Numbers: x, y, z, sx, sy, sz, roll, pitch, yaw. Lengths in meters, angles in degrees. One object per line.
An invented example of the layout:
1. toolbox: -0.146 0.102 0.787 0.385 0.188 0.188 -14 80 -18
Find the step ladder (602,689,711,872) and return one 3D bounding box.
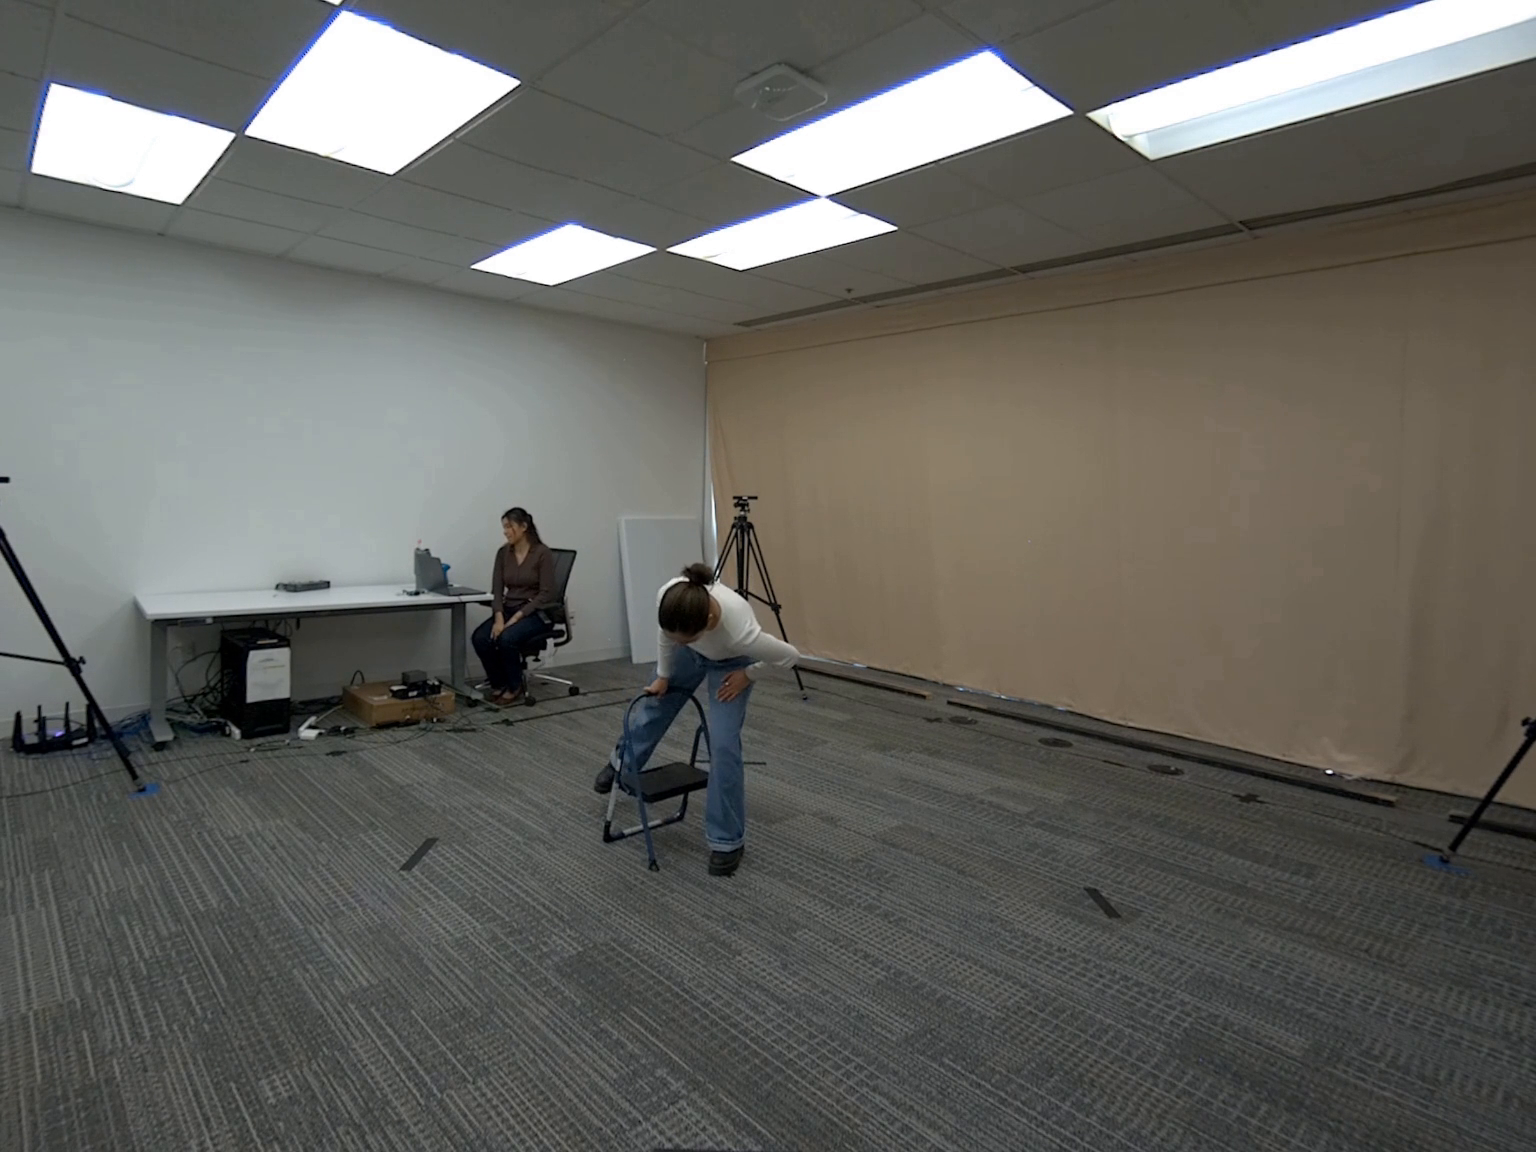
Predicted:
1. step ladder: -0.403 0.768 3.379 0.421 0.605 0.358 -2 4 -45
